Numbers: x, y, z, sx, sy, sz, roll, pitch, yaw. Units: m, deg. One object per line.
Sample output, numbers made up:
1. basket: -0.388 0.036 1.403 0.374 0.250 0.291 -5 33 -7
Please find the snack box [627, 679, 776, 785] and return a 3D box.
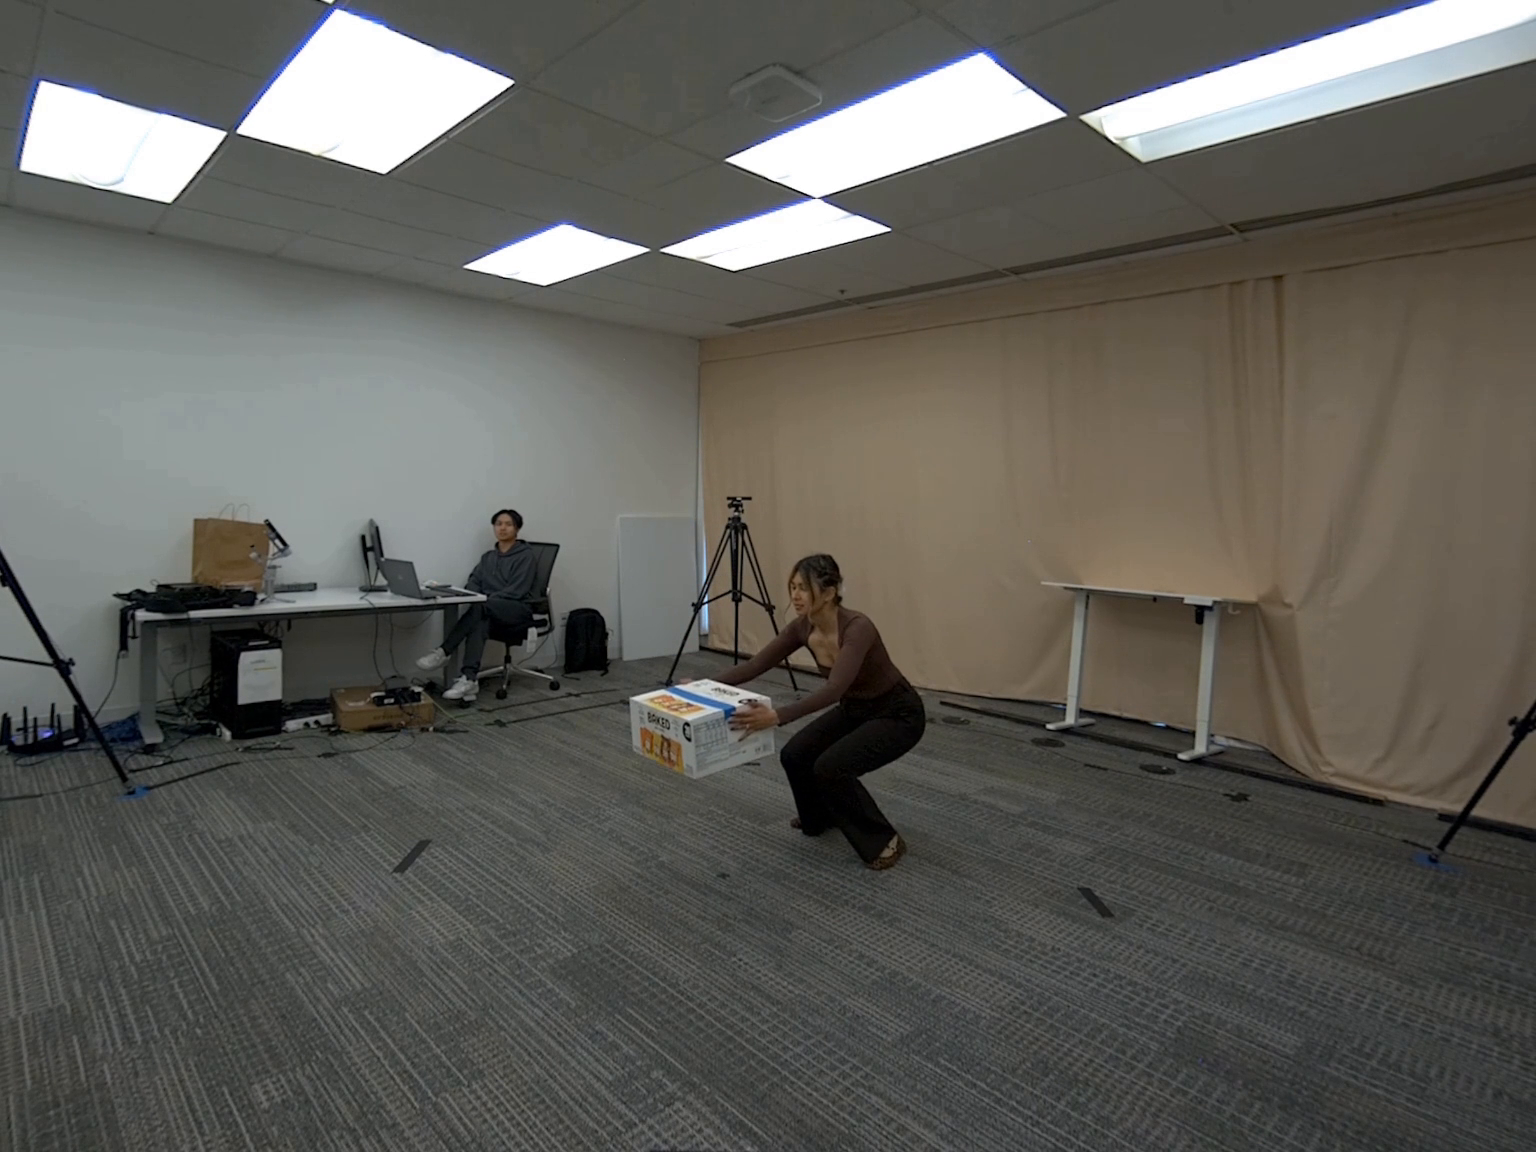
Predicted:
1. snack box: -0.240 0.535 2.994 0.334 0.204 0.415 -9 9 -37
